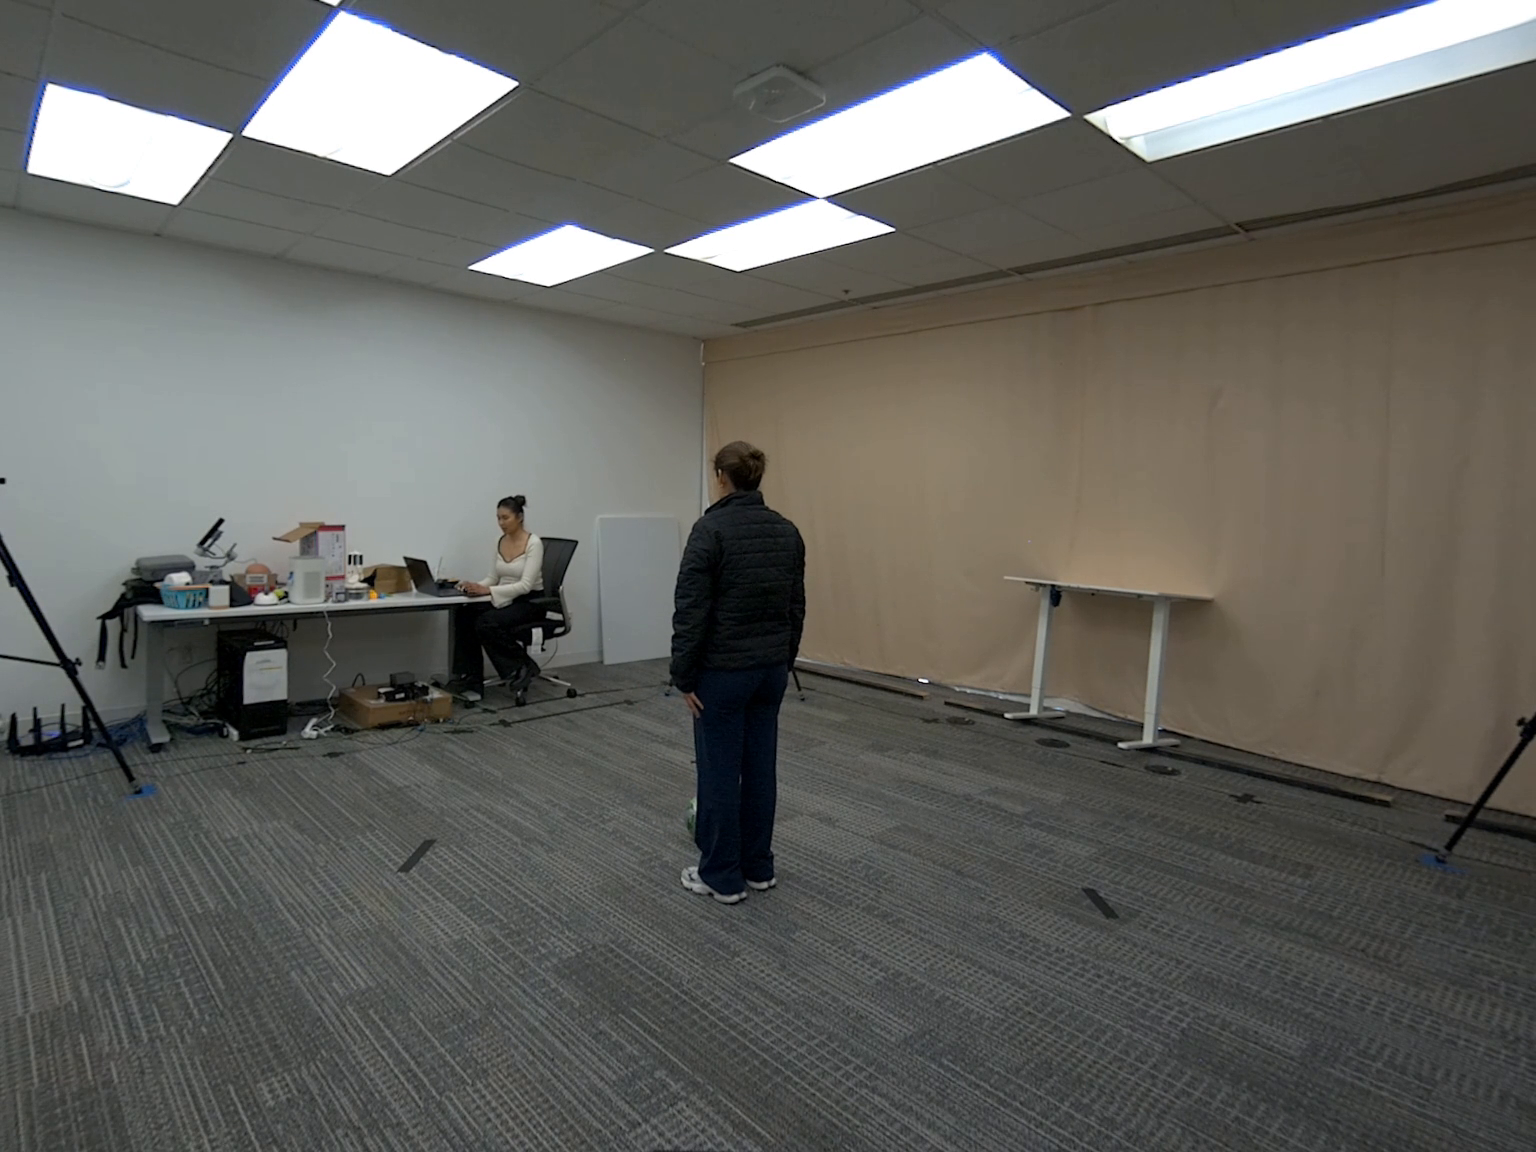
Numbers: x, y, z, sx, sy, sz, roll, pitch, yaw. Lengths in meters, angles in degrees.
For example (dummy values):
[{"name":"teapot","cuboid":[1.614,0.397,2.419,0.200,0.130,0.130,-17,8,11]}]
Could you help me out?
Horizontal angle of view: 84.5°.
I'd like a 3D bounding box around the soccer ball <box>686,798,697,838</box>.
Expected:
[{"name":"soccer ball","cuboid":[-0.252,0.983,3.434,0.187,0.187,0.188,1,4,-1]}]
